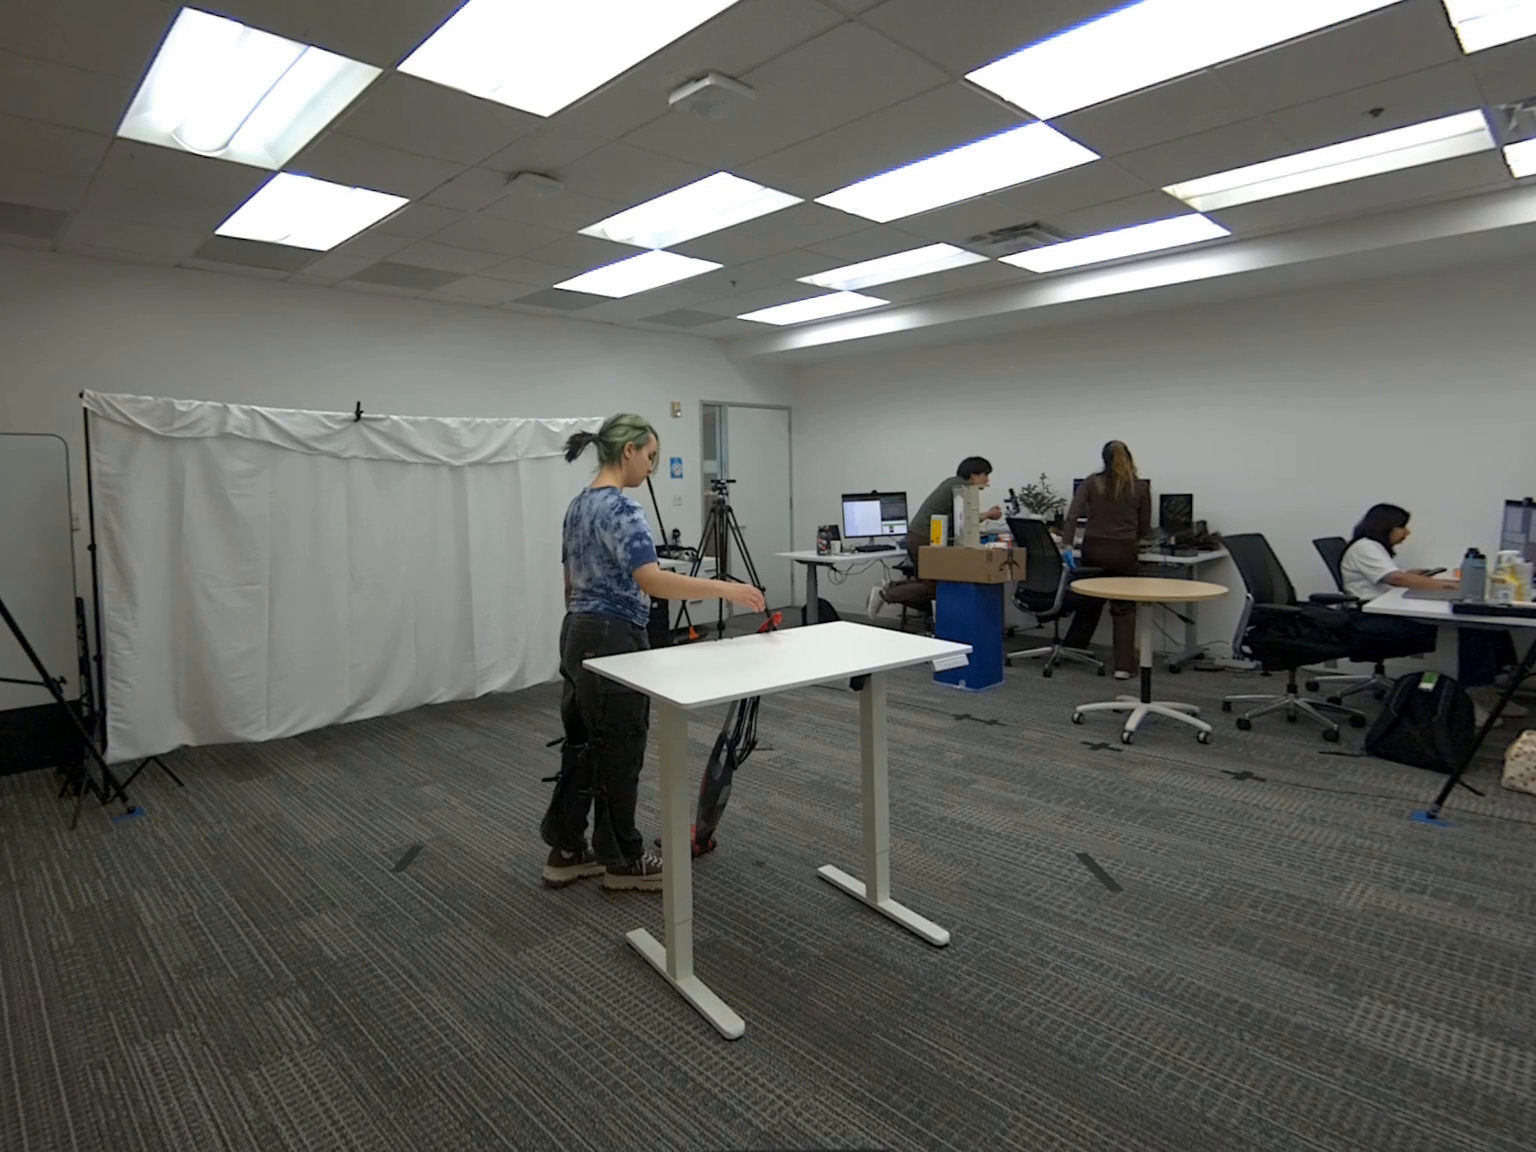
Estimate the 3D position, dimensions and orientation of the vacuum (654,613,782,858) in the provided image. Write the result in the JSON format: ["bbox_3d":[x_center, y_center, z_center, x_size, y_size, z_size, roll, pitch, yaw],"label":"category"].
[{"bbox_3d":[-0.126,0.581,3.031,0.149,1.037,0.246,36,28,32],"label":"vacuum"}]
